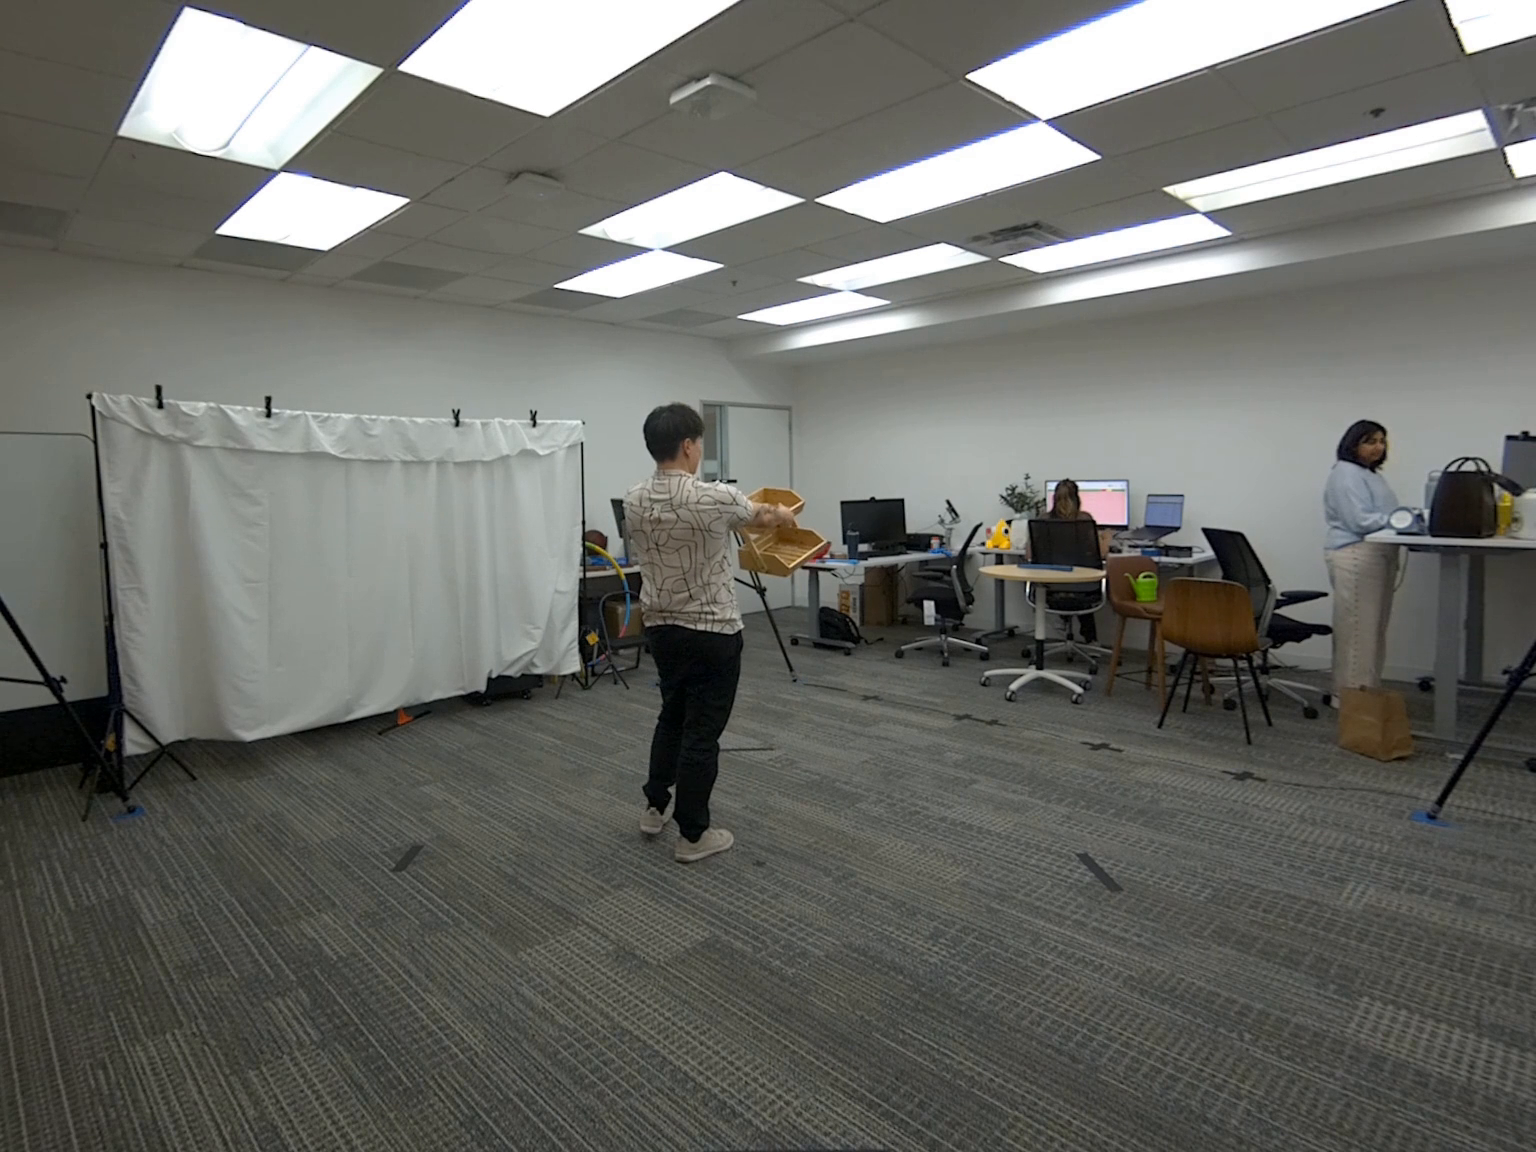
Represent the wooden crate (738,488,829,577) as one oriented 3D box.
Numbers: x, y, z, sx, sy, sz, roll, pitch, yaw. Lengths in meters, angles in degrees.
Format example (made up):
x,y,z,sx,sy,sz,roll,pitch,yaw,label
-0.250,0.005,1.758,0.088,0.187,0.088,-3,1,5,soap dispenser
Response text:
x,y,z,sx,sy,sz,roll,pitch,yaw,label
0.042,-0.192,3.570,0.311,0.268,0.321,9,26,34,wooden crate
